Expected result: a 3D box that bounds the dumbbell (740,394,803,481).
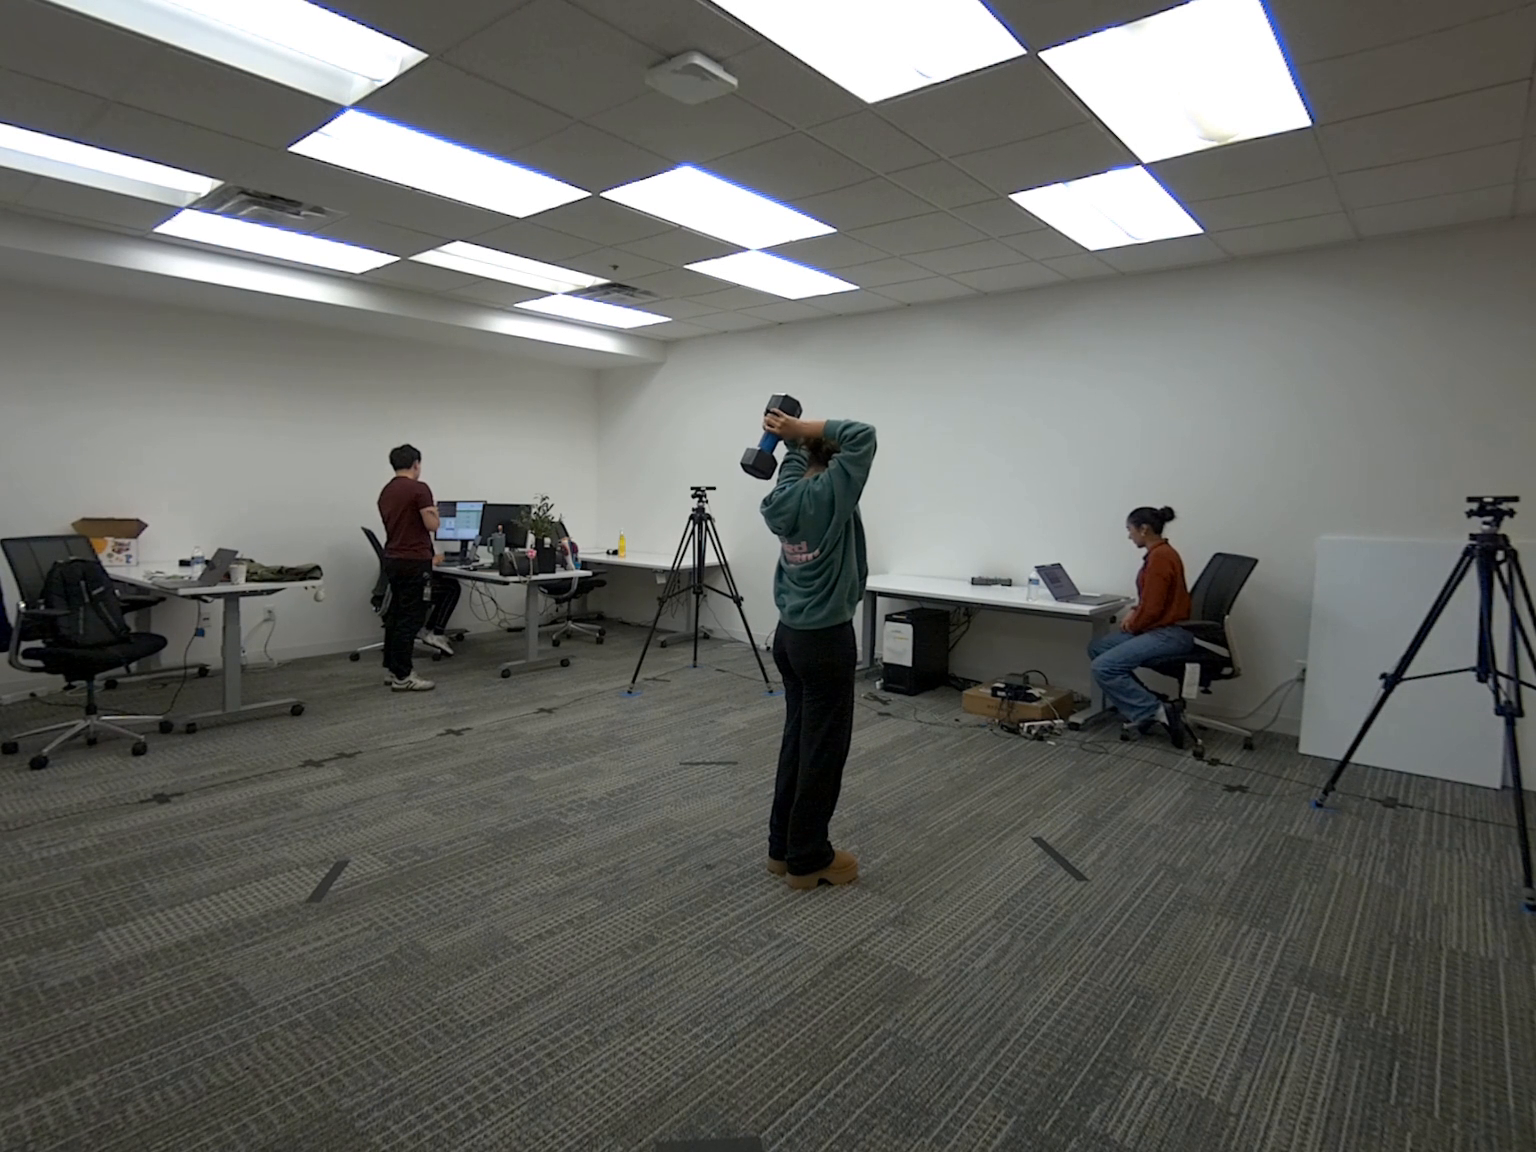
[{"bbox_3d":[0.007,-0.484,2.936,0.120,0.294,0.110,29,-9,-15],"label":"dumbbell"}]
